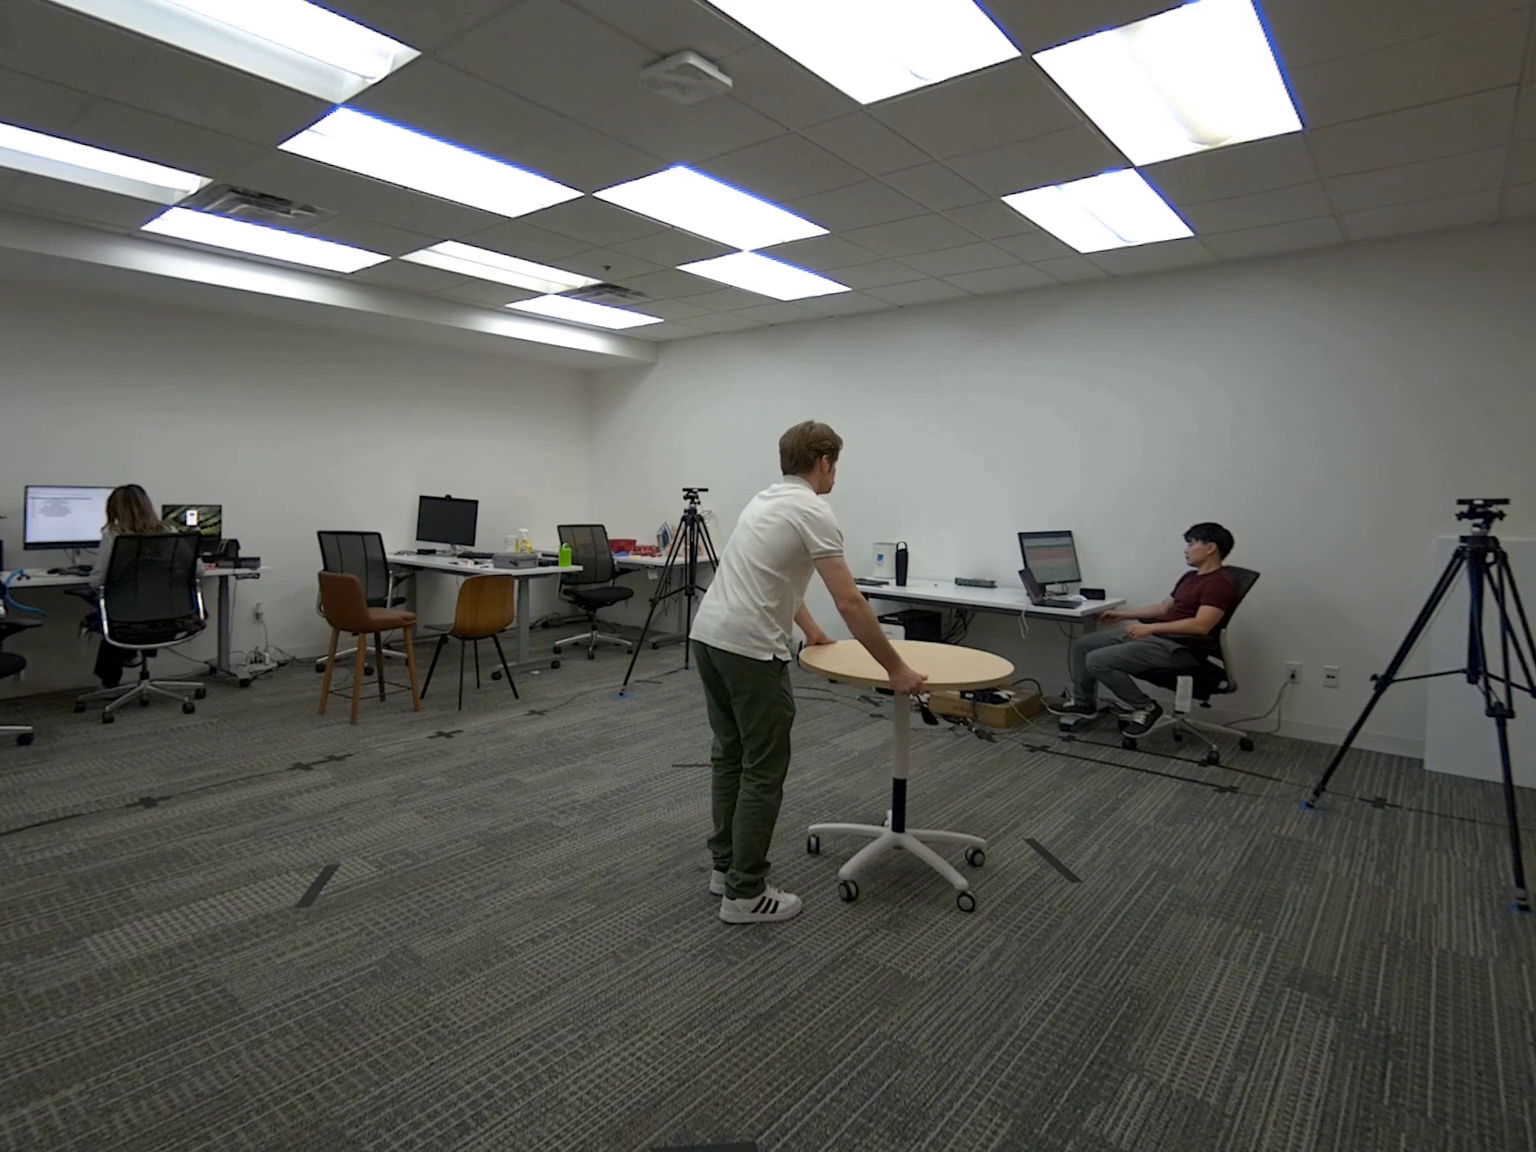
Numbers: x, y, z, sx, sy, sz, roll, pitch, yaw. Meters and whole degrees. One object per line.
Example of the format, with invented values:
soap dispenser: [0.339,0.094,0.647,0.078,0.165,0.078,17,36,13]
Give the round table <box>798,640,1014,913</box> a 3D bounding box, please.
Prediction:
round table: [0.481,0.692,3.137,0.763,0.791,0.768,1,4,-2]
